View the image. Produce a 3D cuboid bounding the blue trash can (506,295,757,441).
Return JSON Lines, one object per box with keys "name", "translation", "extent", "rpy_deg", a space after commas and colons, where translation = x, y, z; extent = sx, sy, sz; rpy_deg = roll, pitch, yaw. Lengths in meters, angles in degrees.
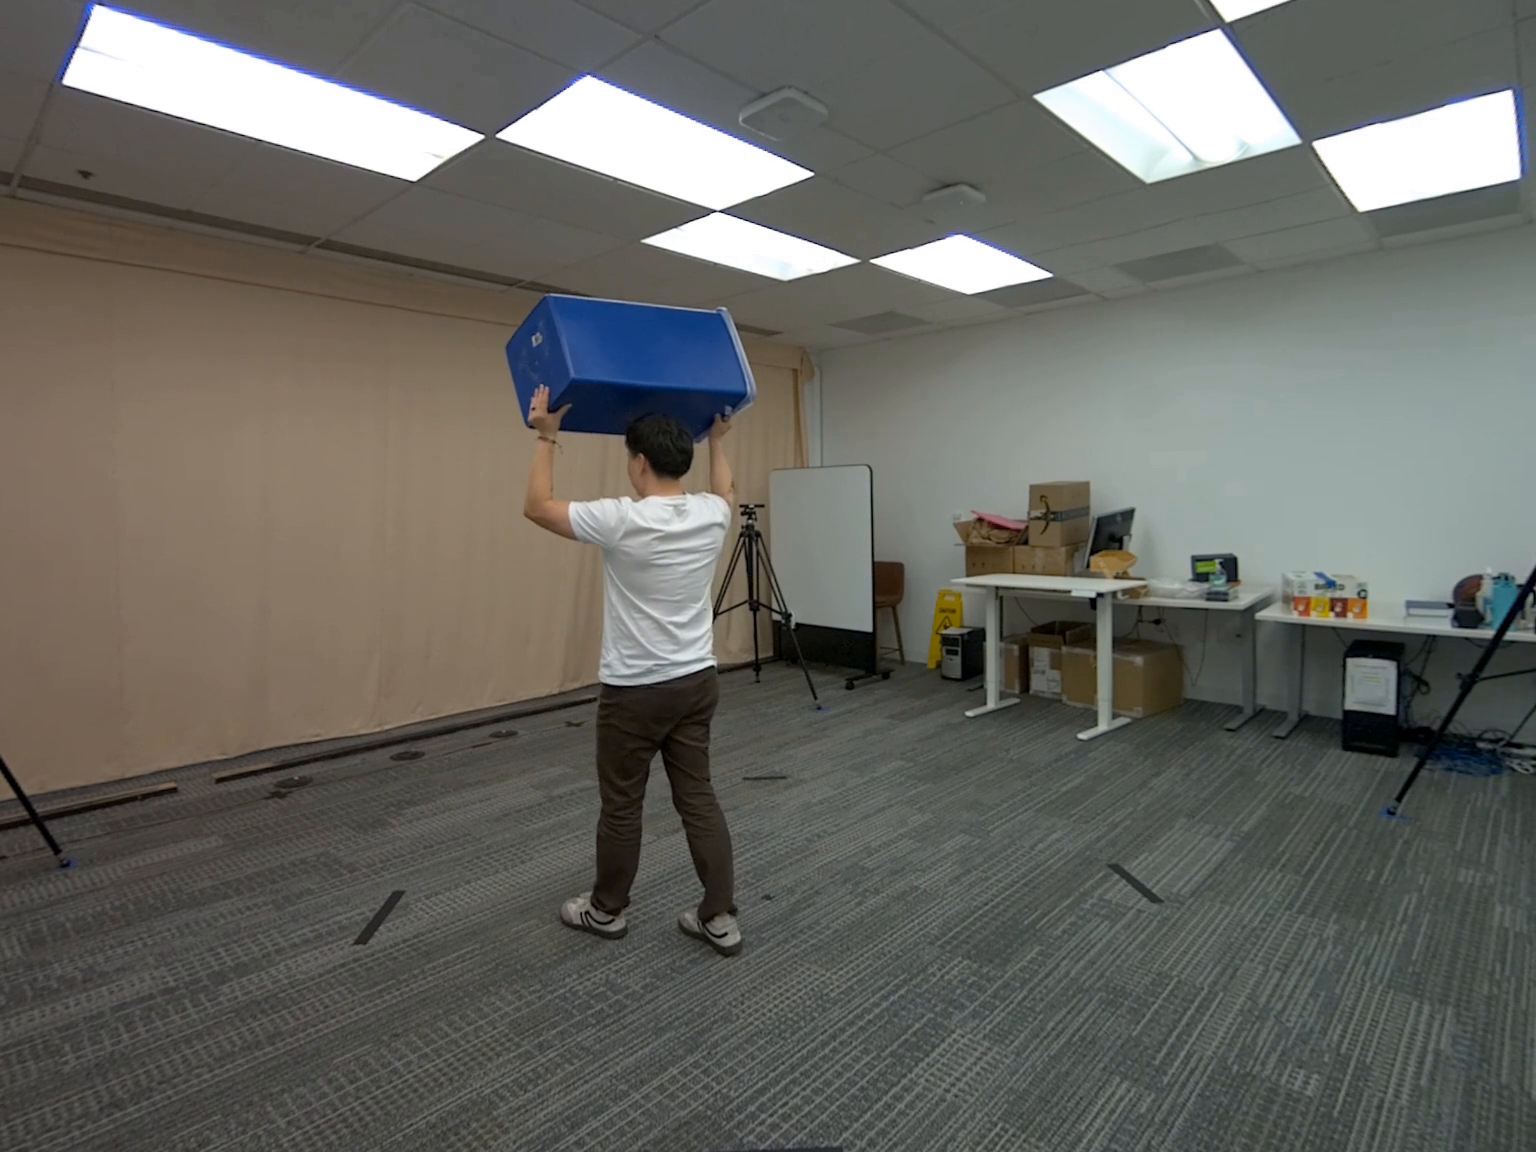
{"name": "blue trash can", "translation": [-0.446, -0.679, 2.796], "extent": [0.692, 0.382, 0.381], "rpy_deg": [-7, -16, -43]}
